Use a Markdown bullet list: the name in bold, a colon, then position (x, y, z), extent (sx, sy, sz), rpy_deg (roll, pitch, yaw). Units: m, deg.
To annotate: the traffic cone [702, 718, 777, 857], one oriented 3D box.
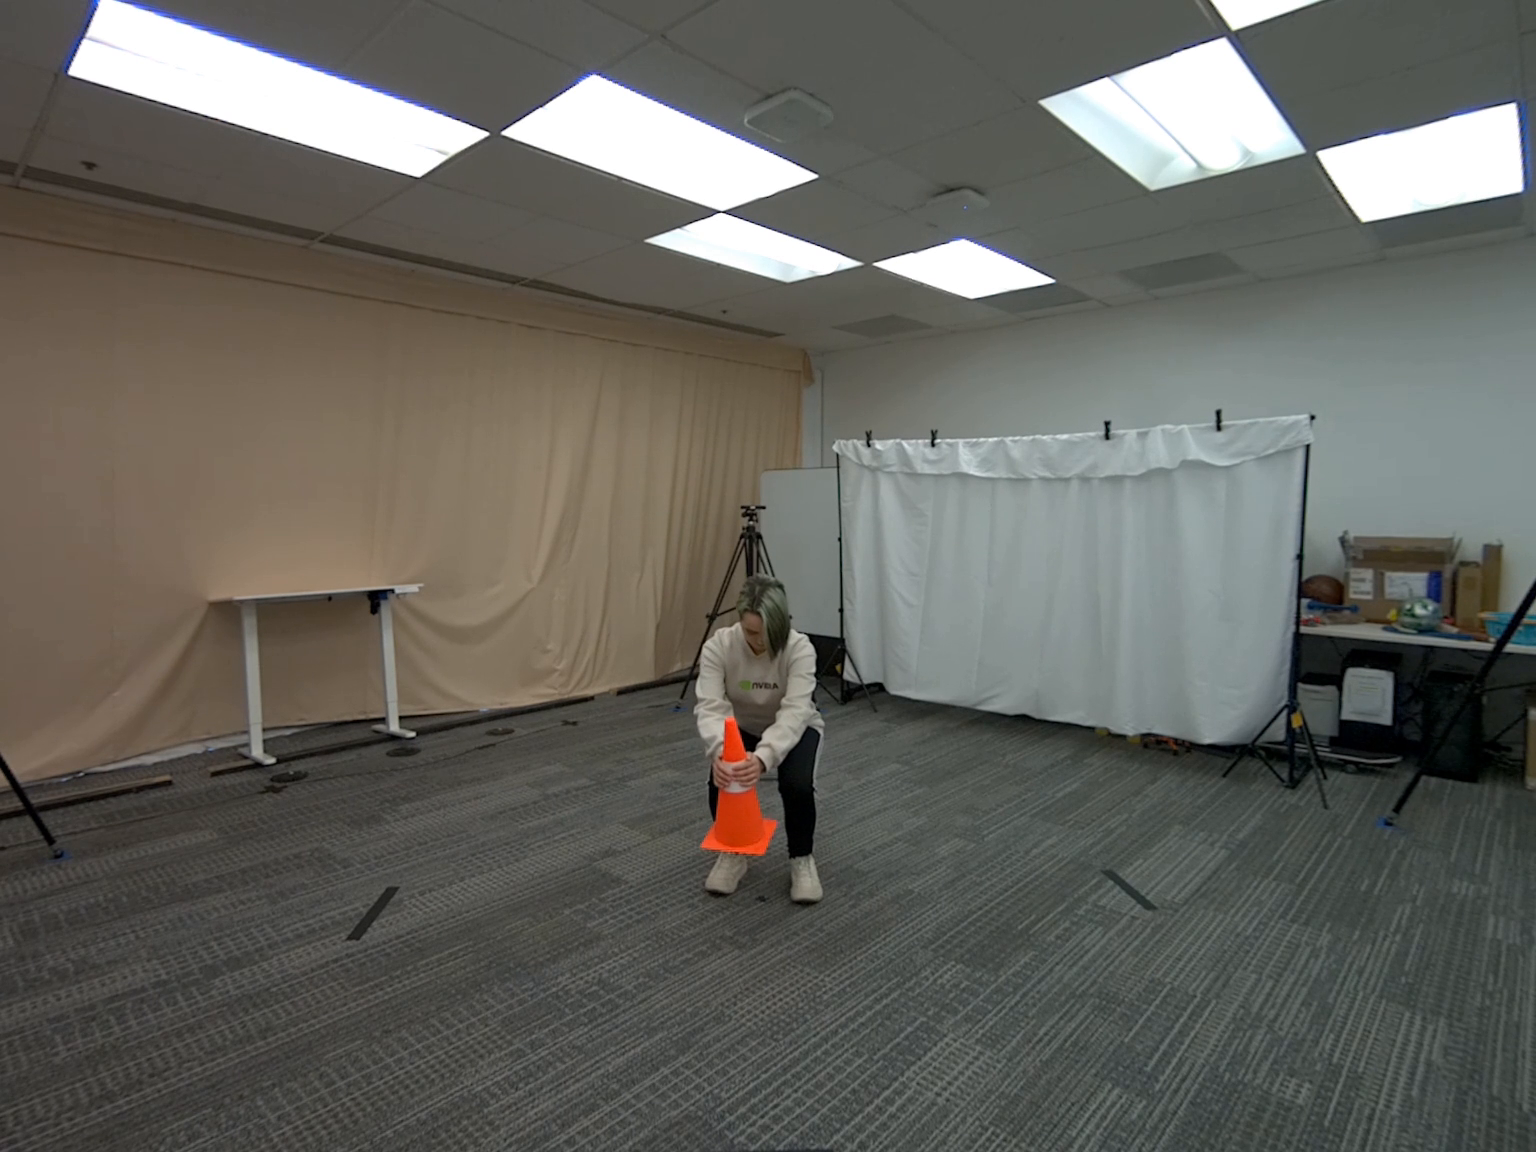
- **traffic cone**: position (-0.101, 0.607, 2.552), extent (0.209, 0.381, 0.201), rpy_deg (-1, 11, 18)
